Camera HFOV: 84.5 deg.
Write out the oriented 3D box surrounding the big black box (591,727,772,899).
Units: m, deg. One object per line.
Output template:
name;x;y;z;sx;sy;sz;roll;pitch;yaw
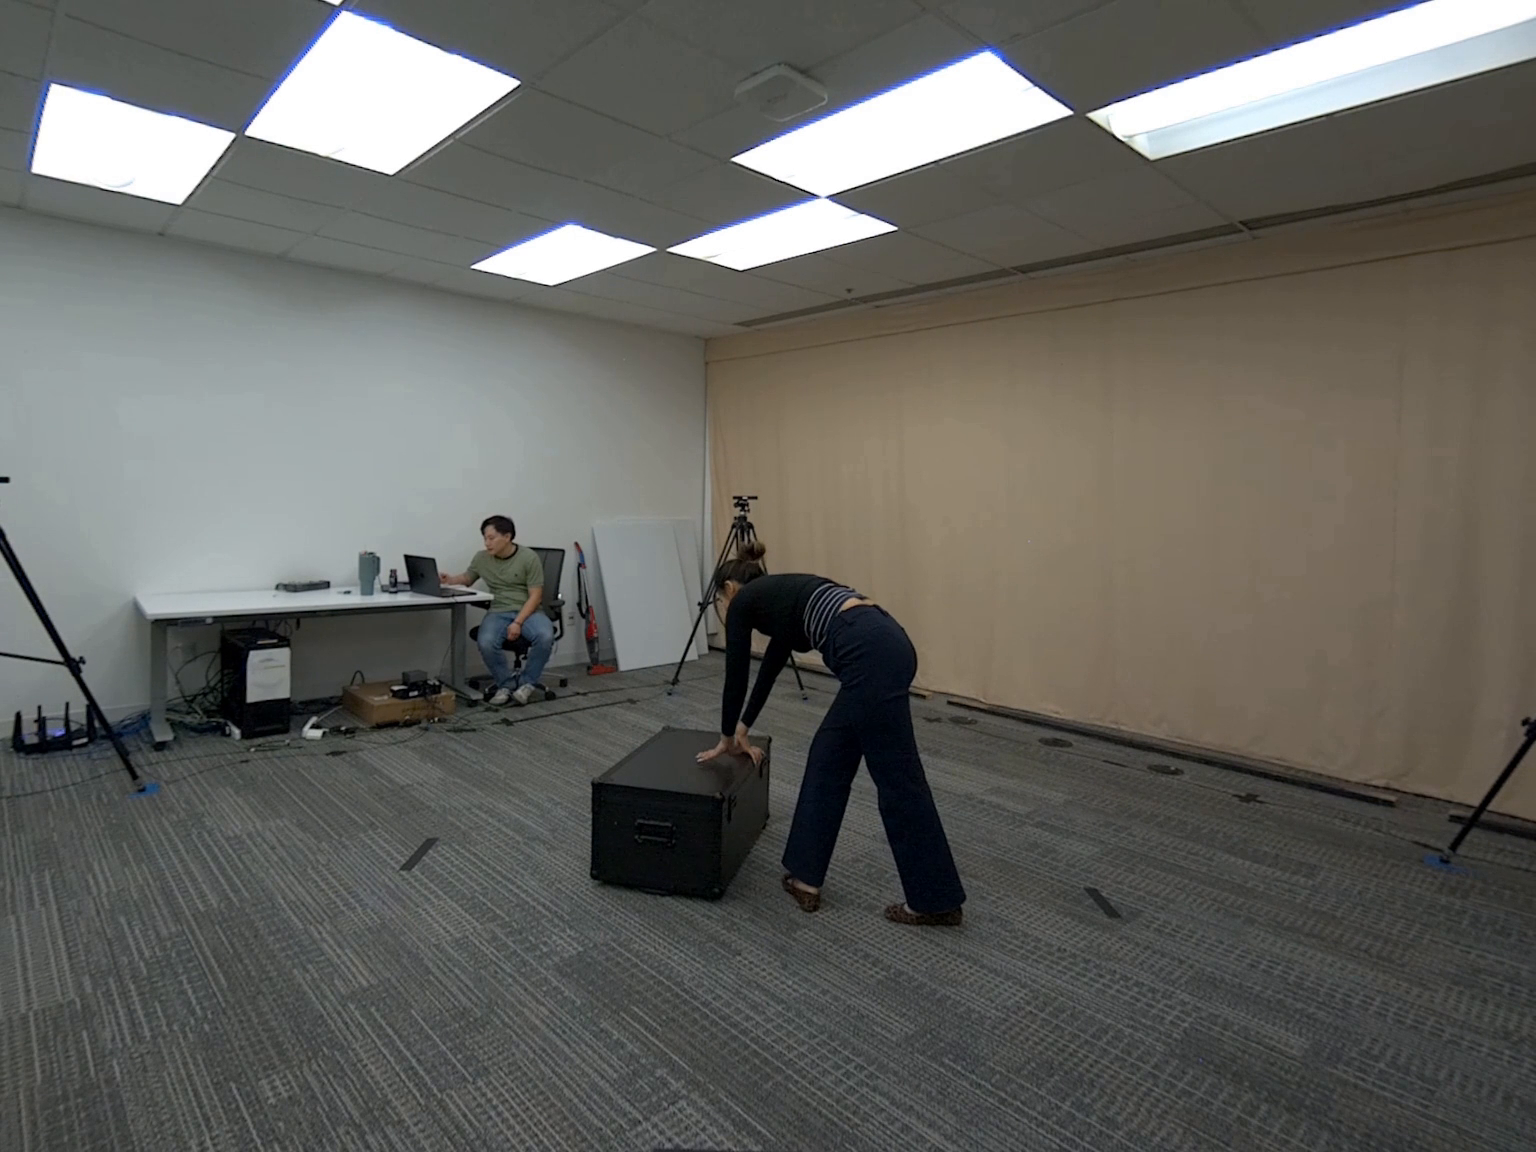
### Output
big black box;-0.307;0.886;3.327;0.527;0.395;0.854;2;6;14
